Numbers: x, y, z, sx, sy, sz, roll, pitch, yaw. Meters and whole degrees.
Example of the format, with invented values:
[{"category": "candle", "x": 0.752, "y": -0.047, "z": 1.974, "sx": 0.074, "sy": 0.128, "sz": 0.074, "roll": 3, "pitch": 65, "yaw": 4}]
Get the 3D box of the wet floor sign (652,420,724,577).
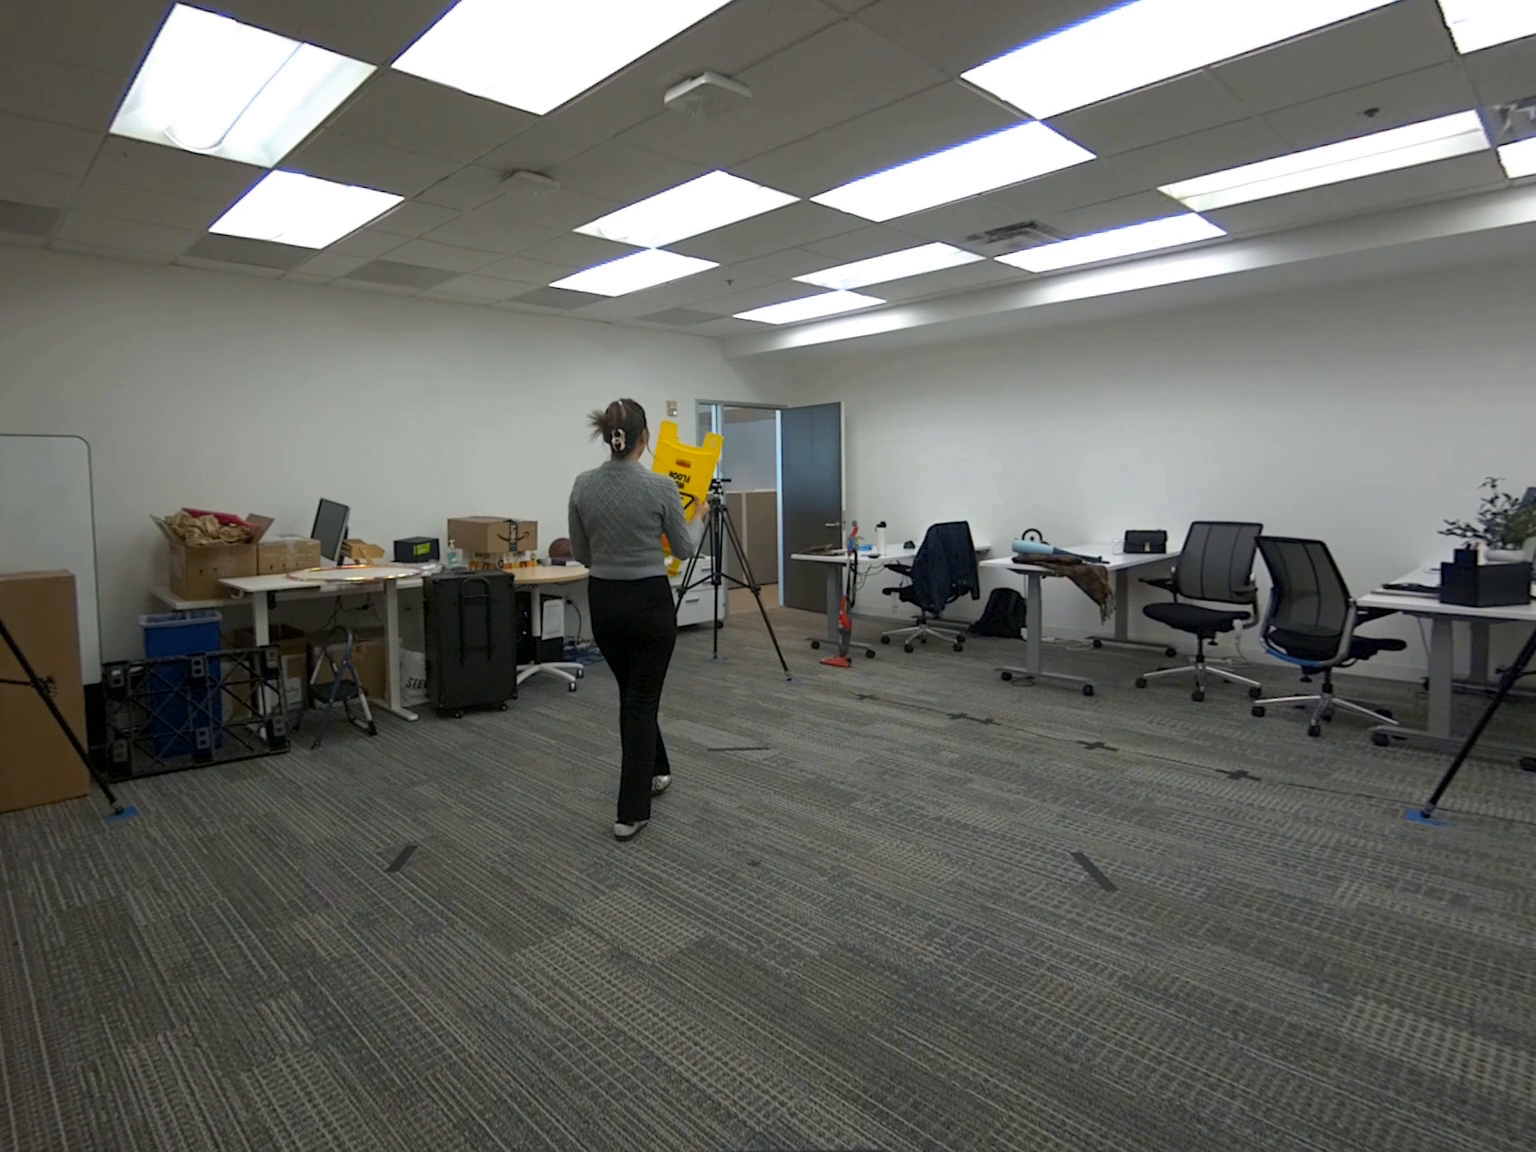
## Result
[{"category": "wet floor sign", "x": -0.420, "y": -0.325, "z": 3.809, "sx": 0.281, "sy": 0.649, "sz": 0.289, "roll": 14, "pitch": -7, "yaw": -4}]
